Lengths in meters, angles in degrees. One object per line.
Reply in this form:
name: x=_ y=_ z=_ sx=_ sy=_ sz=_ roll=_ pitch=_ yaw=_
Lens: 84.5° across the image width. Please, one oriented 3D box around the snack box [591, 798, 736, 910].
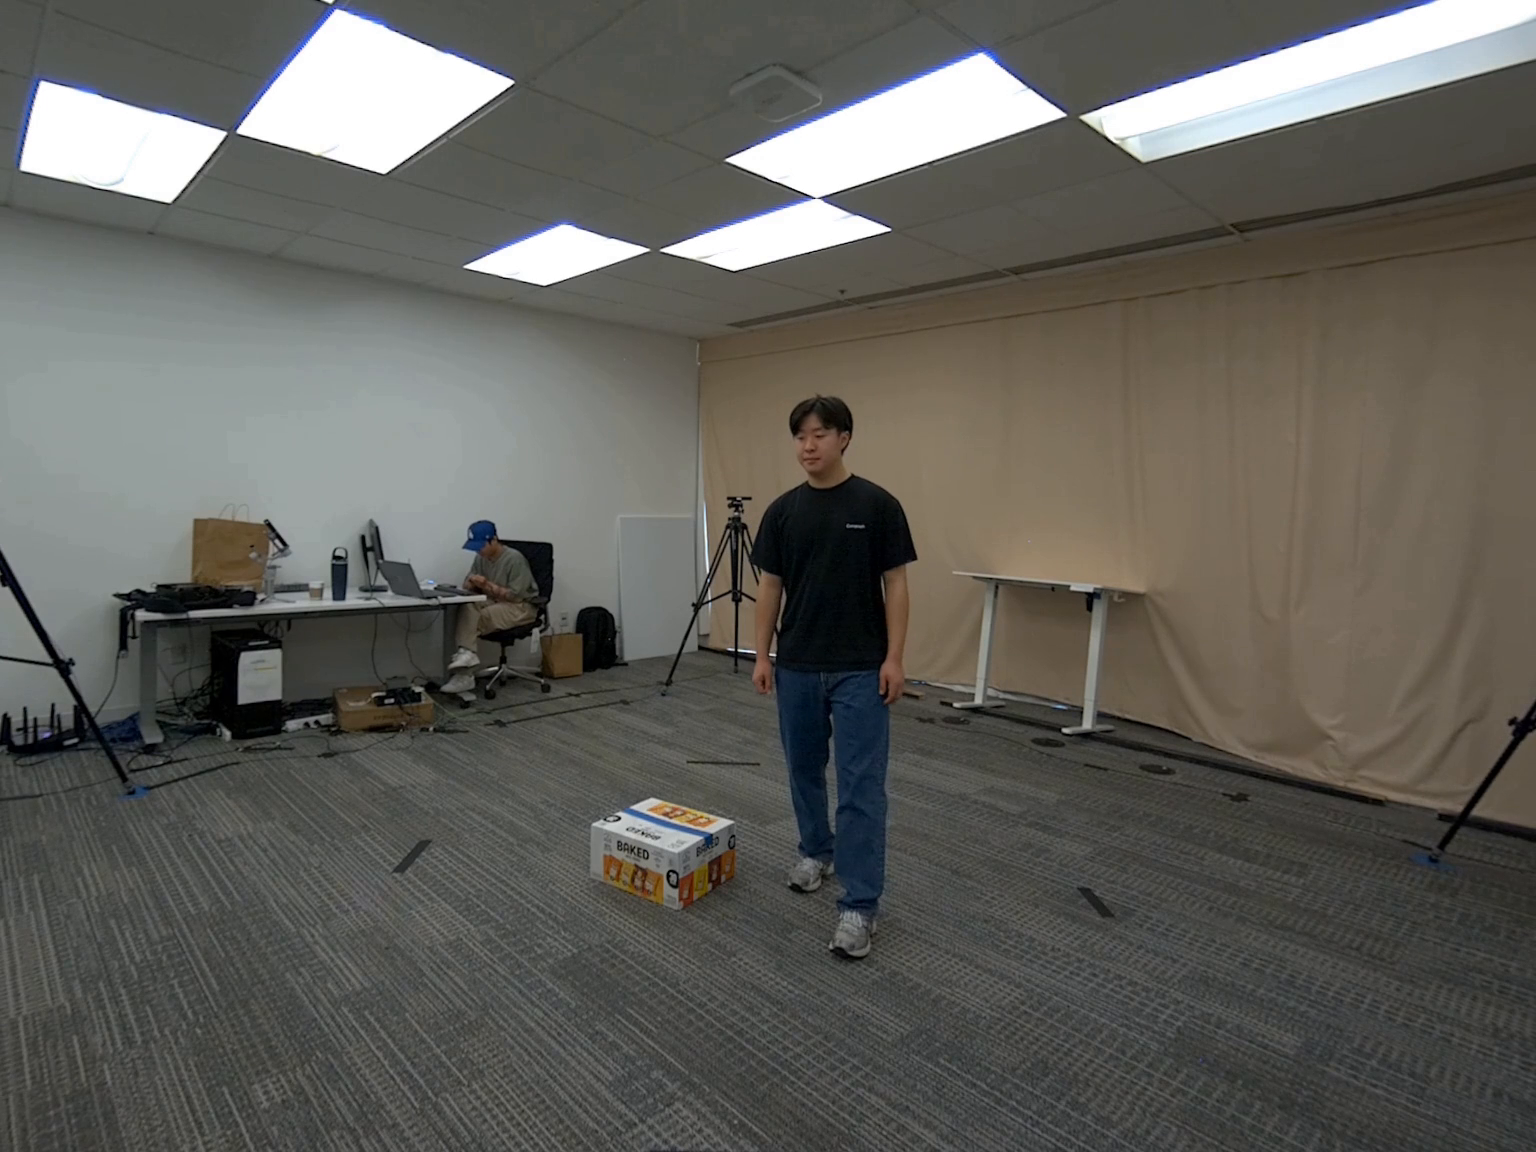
snack box: x=-0.386 y=1.002 z=3.073 sx=0.415 sy=0.205 sz=0.333 roll=5 pitch=6 yaw=33
